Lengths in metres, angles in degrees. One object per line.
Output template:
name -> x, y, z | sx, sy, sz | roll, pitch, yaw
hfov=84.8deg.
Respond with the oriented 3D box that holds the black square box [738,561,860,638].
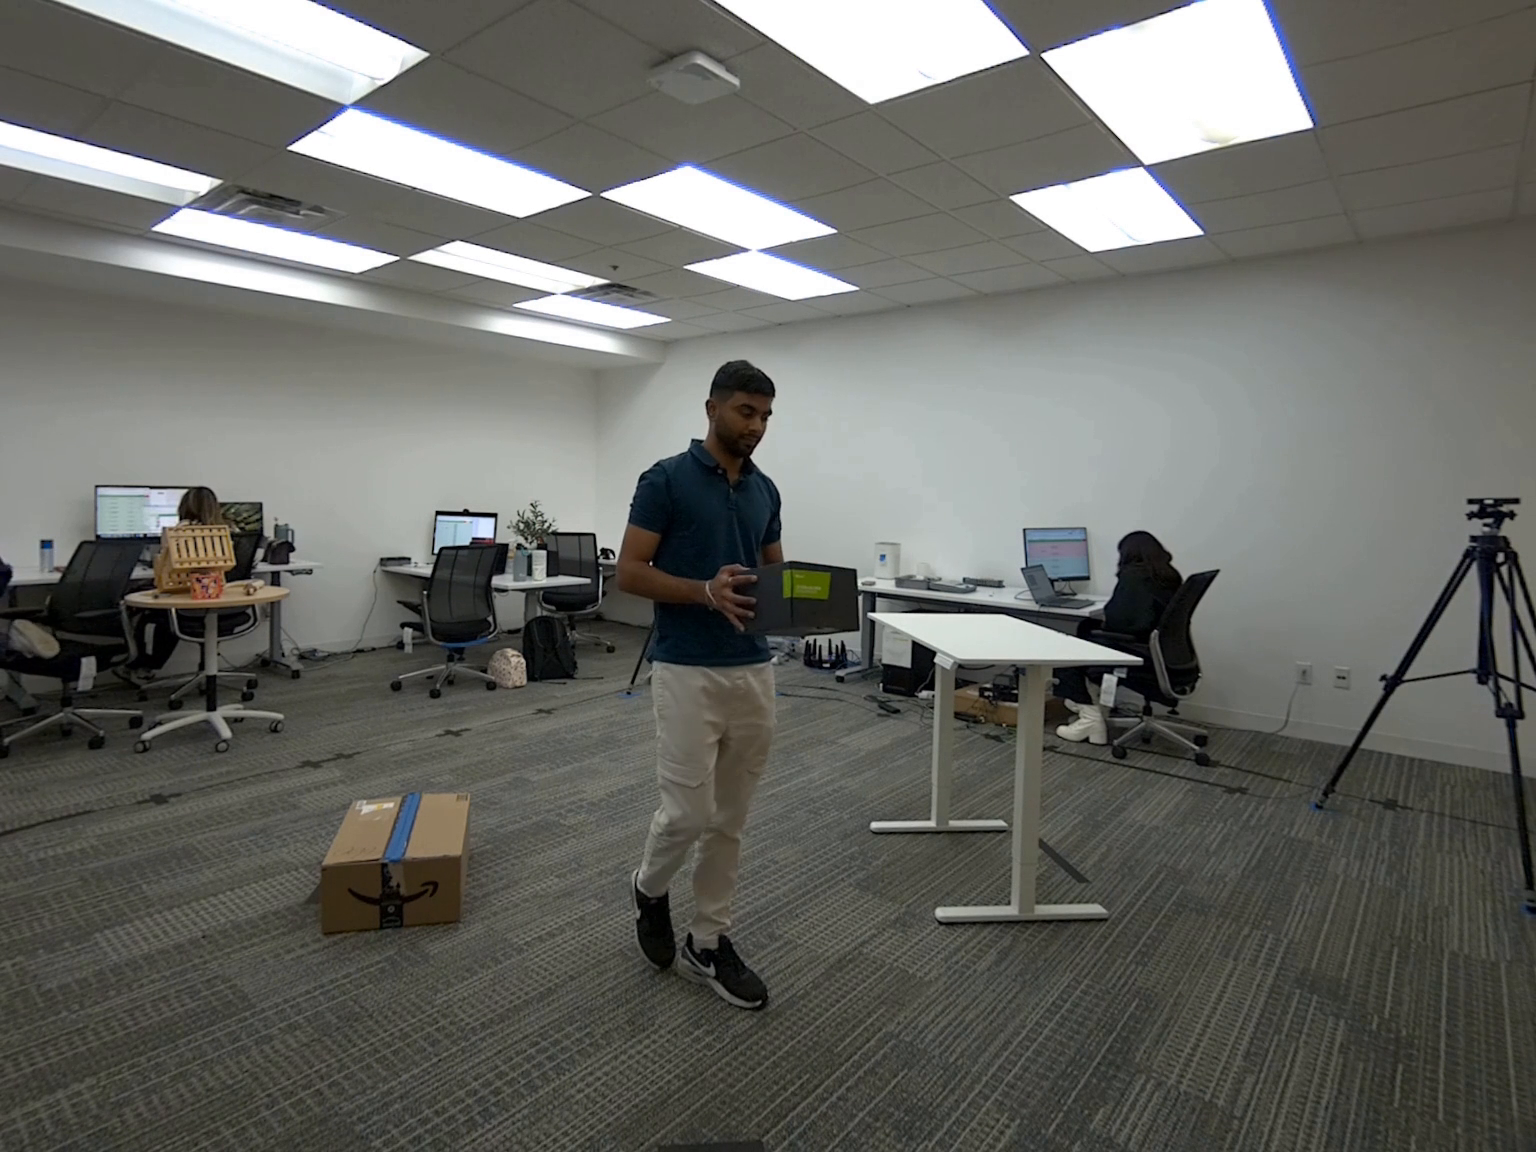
black square box -> 0.062, 0.061, 2.107 | 0.220, 0.157, 0.222 | 7, -12, -39
